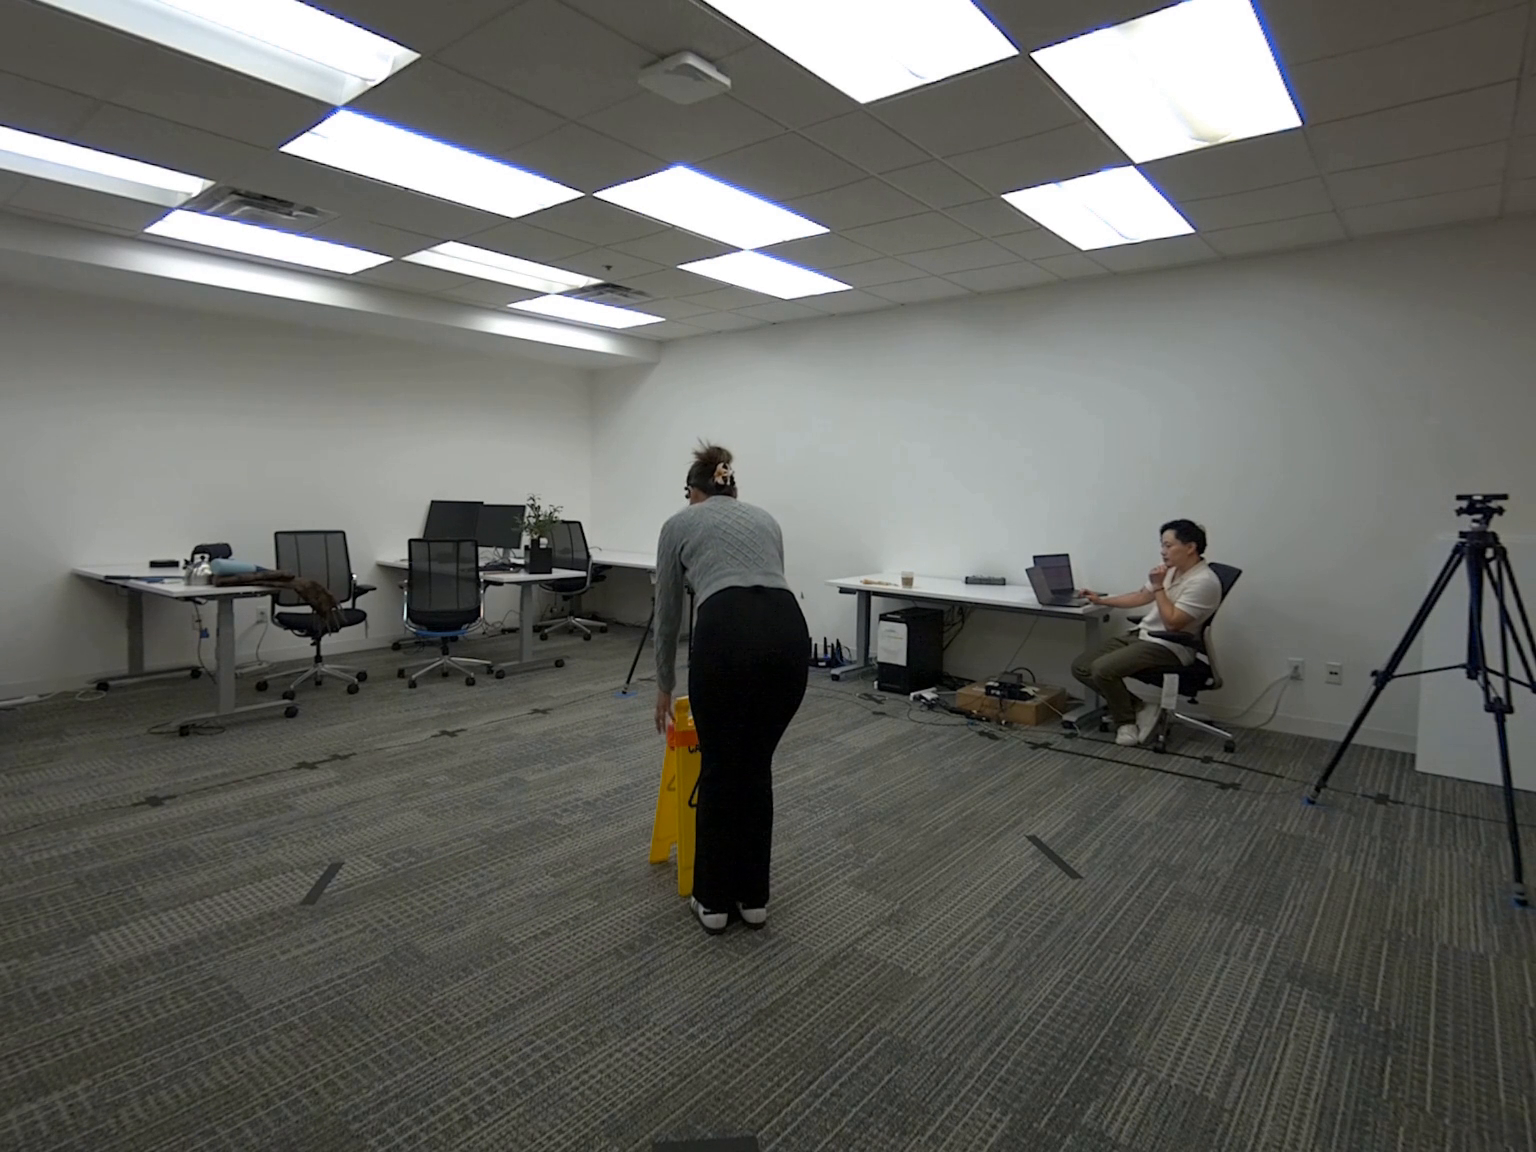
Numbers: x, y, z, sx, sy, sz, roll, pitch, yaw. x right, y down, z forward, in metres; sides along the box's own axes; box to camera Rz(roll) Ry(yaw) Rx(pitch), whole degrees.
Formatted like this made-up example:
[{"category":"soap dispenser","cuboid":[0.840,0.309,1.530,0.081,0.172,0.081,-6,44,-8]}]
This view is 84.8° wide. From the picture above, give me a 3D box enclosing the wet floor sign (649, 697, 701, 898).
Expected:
[{"category":"wet floor sign","cuboid":[-0.256,0.742,3.063,0.275,0.645,0.298,0,2,-27]}]
